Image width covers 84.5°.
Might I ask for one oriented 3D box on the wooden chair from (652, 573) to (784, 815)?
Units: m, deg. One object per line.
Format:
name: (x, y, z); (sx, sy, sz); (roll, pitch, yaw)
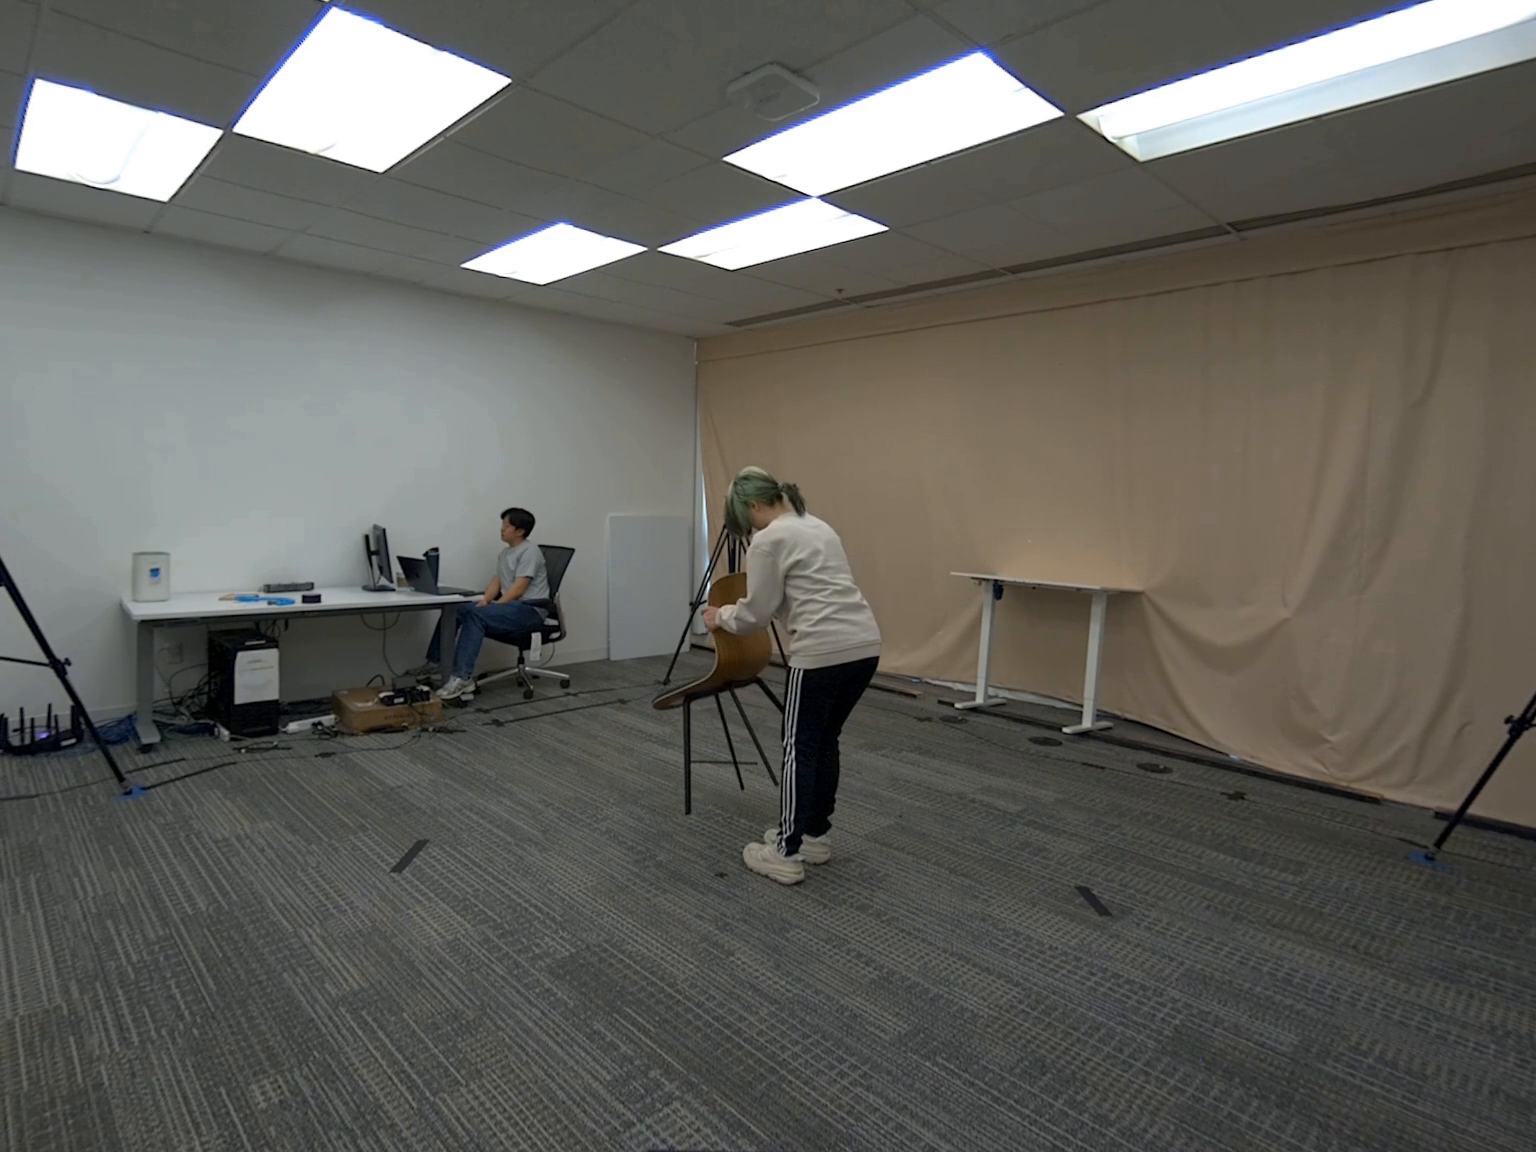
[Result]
wooden chair: (-0.205, 0.486, 3.550); (0.529, 0.885, 0.468); (-22, -10, 29)
